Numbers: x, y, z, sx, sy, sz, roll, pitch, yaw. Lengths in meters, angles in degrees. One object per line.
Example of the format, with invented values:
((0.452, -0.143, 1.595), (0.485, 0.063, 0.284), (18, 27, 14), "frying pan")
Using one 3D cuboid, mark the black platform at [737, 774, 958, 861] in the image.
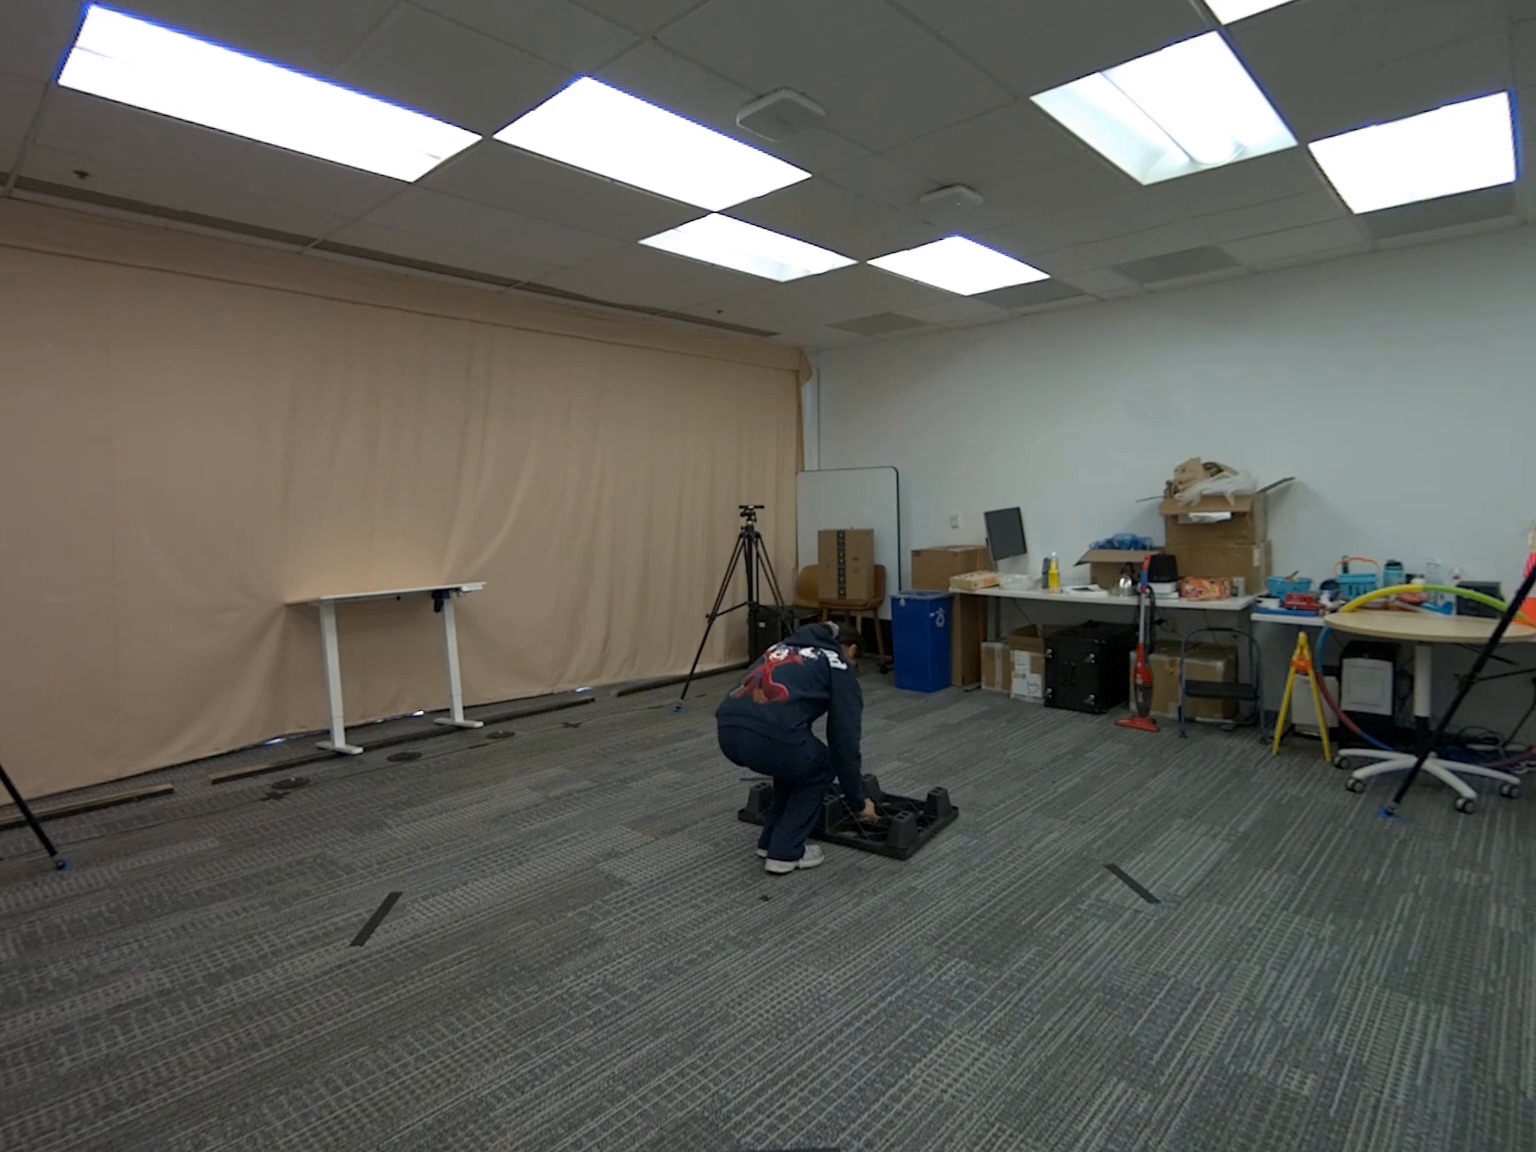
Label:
((0.358, 1.011, 3.731), (0.831, 0.143, 0.588), (2, 5, 34), "black platform")
